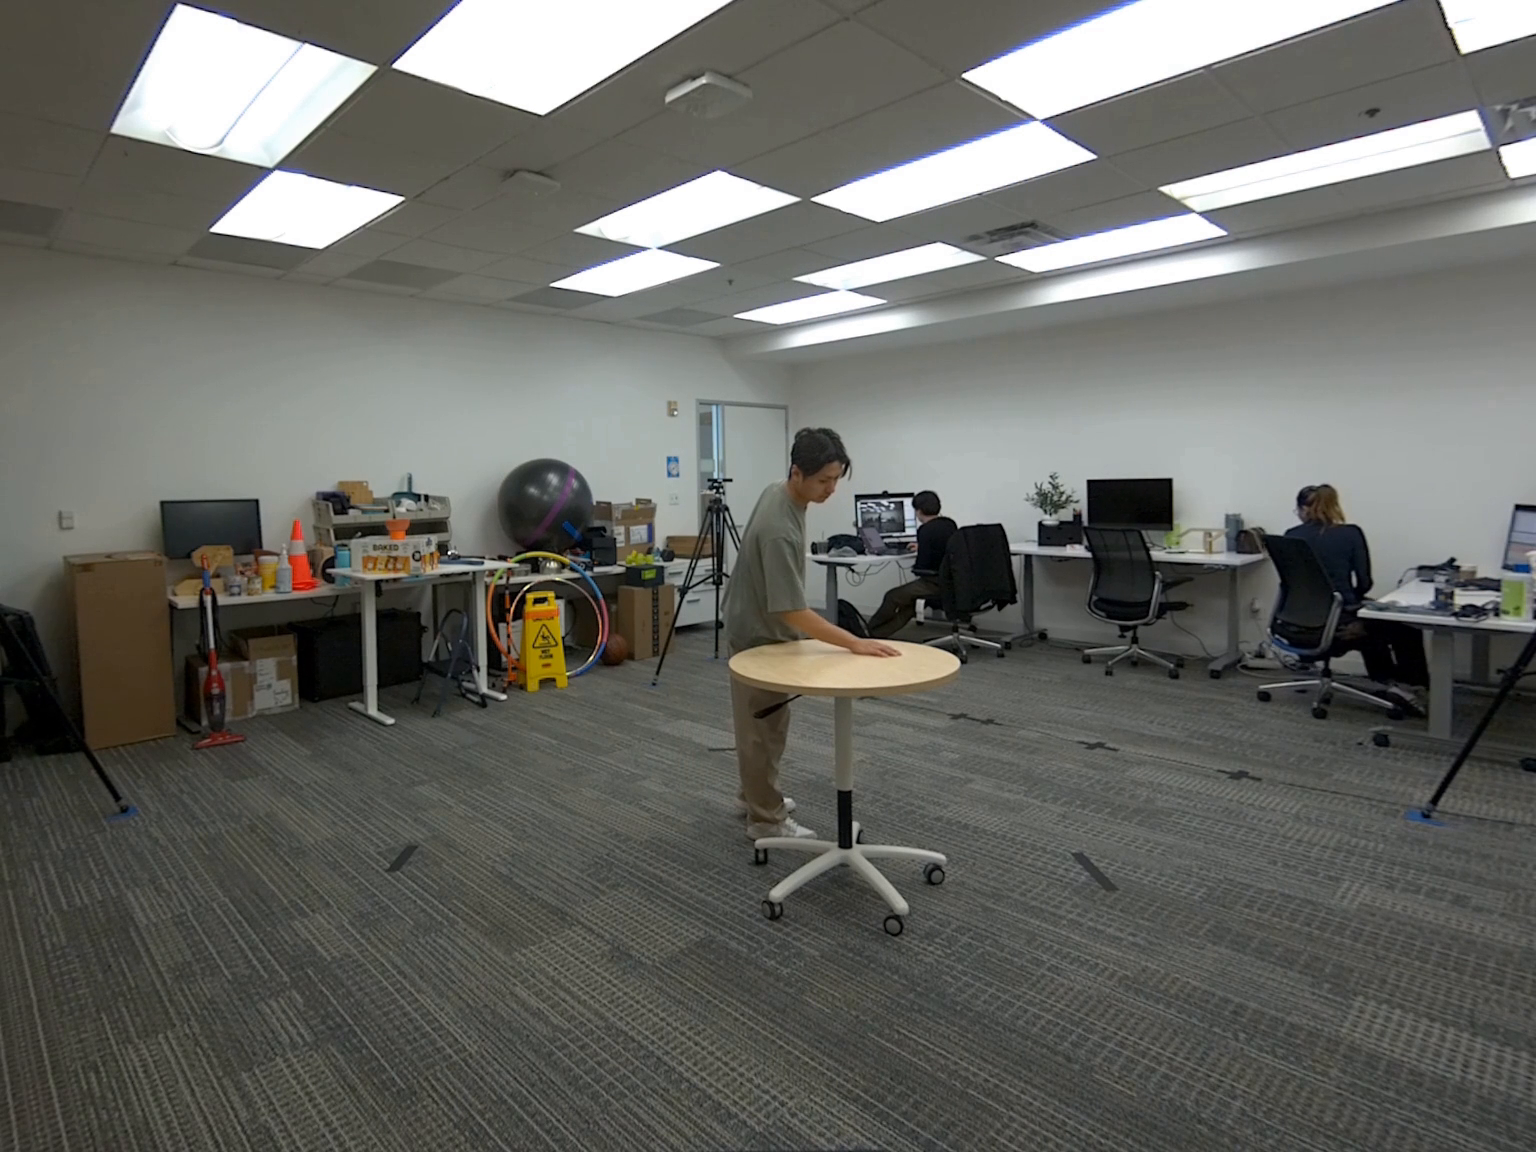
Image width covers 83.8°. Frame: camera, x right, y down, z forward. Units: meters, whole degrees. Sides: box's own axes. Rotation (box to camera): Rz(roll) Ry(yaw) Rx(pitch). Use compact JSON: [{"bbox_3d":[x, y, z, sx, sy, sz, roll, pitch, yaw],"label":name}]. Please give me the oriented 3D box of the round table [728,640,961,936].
[{"bbox_3d":[0.268,0.676,2.893,0.763,0.791,0.768,-1,5,-2],"label":"round table"}]
